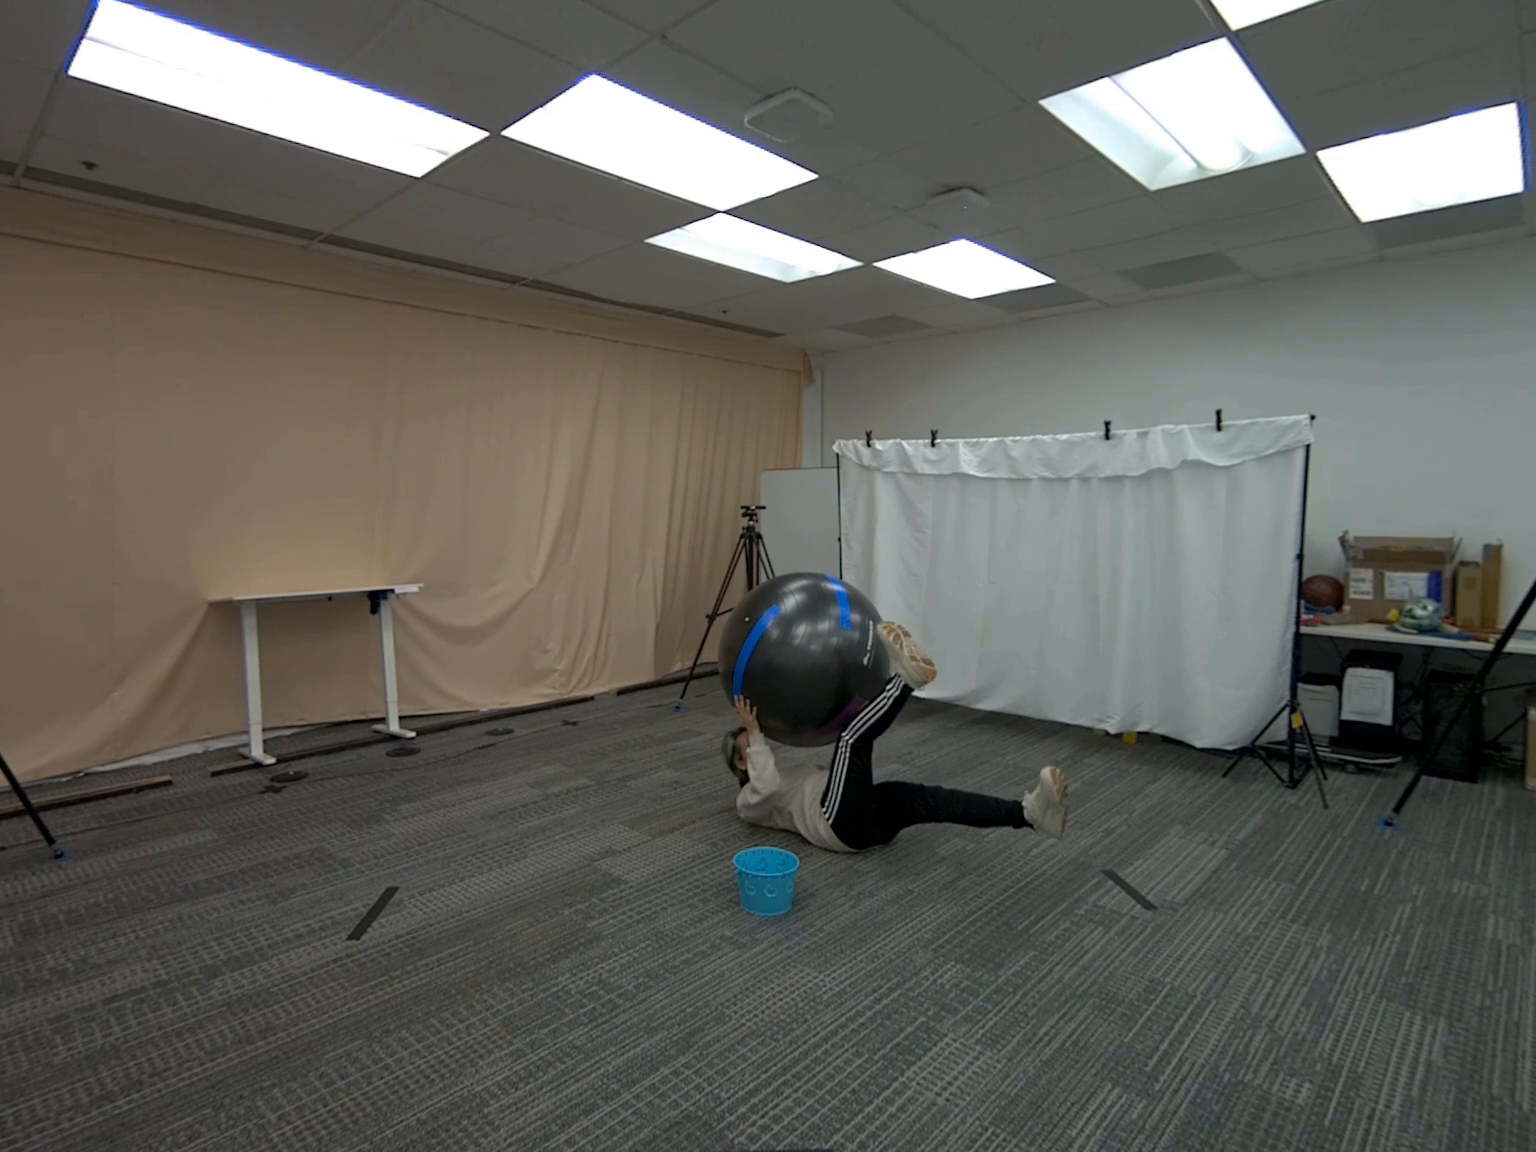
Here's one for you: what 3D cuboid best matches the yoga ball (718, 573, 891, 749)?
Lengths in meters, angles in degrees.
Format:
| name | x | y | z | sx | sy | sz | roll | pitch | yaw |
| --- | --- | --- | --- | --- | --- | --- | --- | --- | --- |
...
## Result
| name | x | y | z | sx | sy | sz | roll | pitch | yaw |
| --- | --- | --- | --- | --- | --- | --- | --- | --- | --- |
| yoga ball | 0.163 | 0.365 | 3.683 | 0.757 | 0.756 | 0.760 | 0 | 4 | -2 |
